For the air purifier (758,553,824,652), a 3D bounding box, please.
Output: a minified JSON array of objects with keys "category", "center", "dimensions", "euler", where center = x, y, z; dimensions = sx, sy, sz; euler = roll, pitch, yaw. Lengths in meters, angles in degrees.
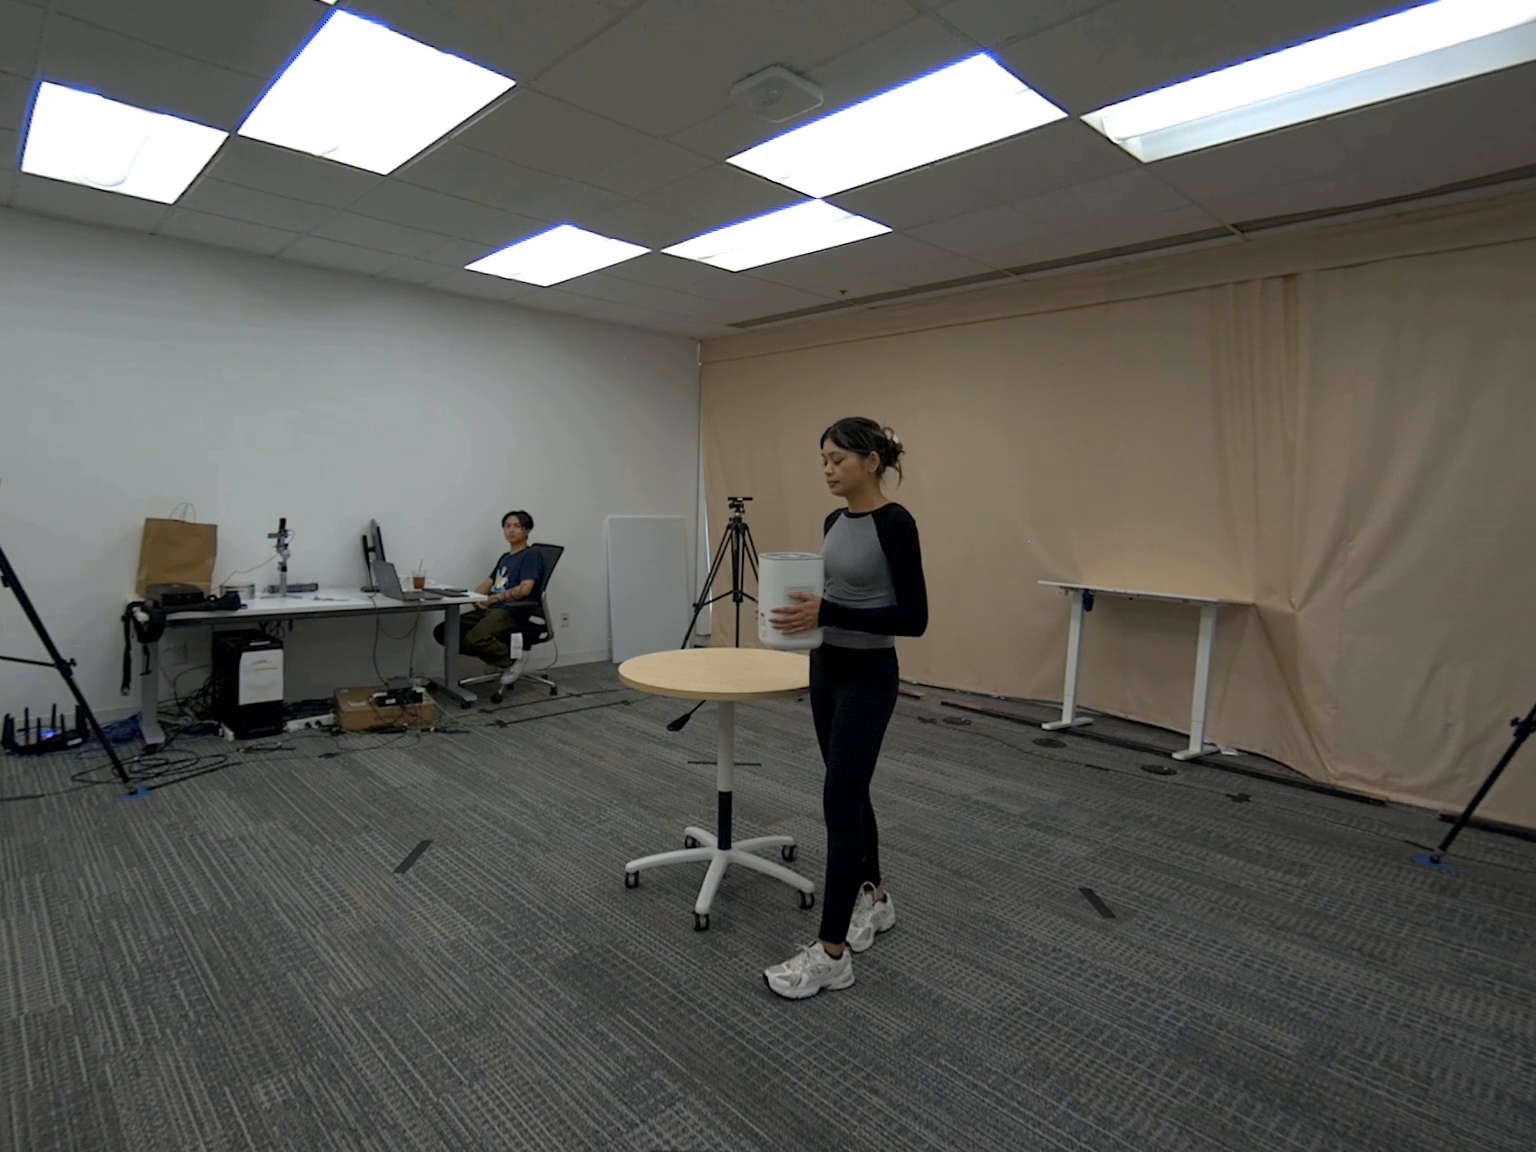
[{"category":"air purifier","center":[0.064,0.073,2.437],"dimensions":[0.169,0.264,0.173],"euler":[-1,5,-15]}]
